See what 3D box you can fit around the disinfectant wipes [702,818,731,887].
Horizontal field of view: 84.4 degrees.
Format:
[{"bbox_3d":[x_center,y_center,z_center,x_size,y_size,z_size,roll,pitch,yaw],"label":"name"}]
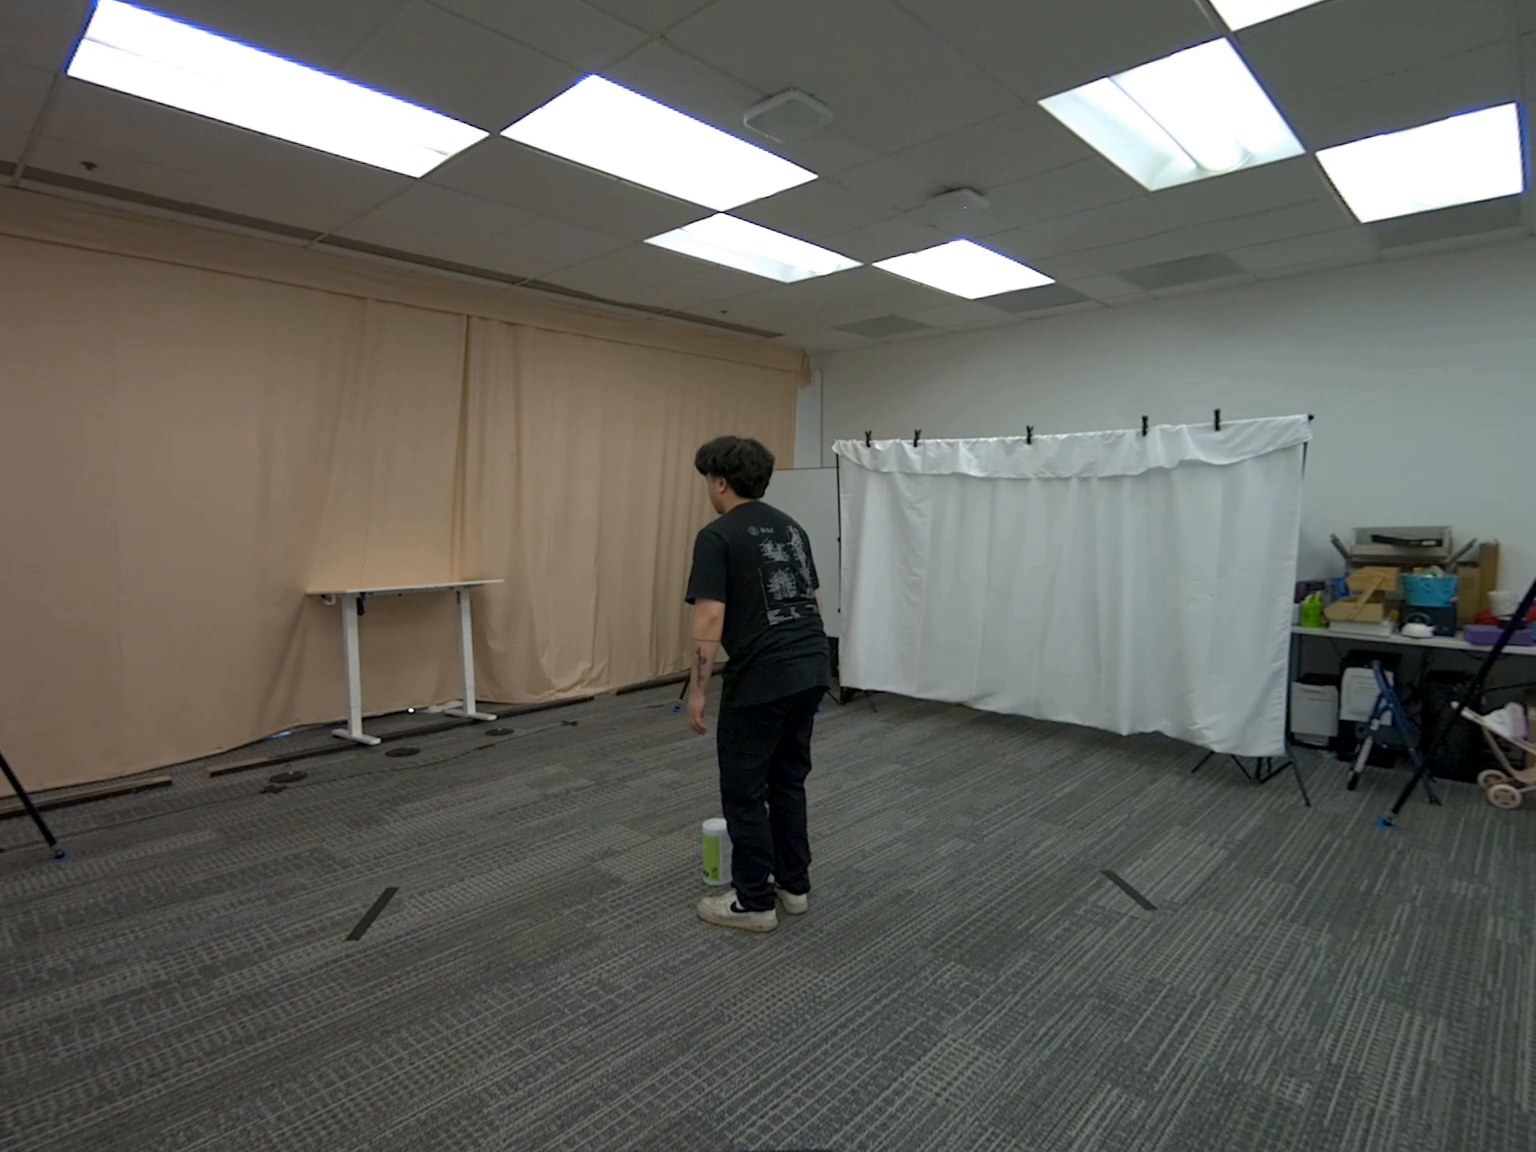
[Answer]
[{"bbox_3d":[-0.187,1.031,3.134,0.118,0.217,0.118,-2,3,-2],"label":"disinfectant wipes"}]
